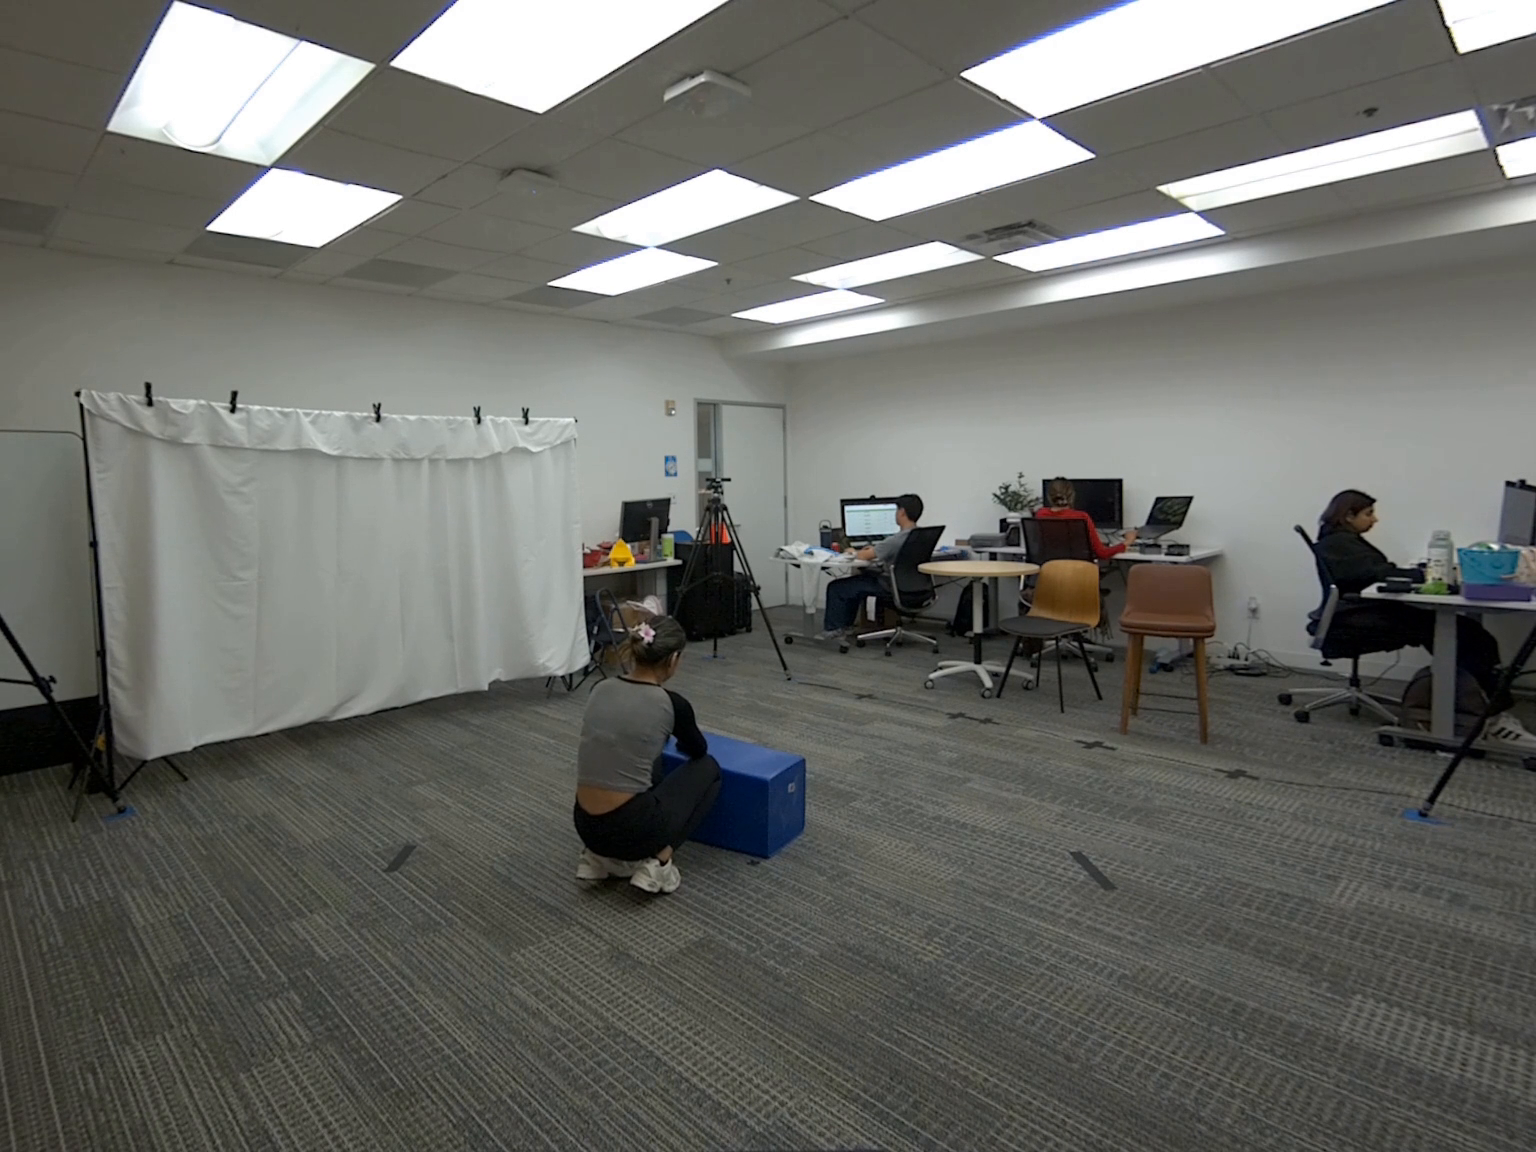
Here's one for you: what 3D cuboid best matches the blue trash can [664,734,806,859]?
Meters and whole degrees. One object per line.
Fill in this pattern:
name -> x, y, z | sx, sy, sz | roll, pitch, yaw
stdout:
blue trash can -> -0.232, 0.840, 3.425 | 0.733, 0.376, 0.365 | 5, 6, 31
